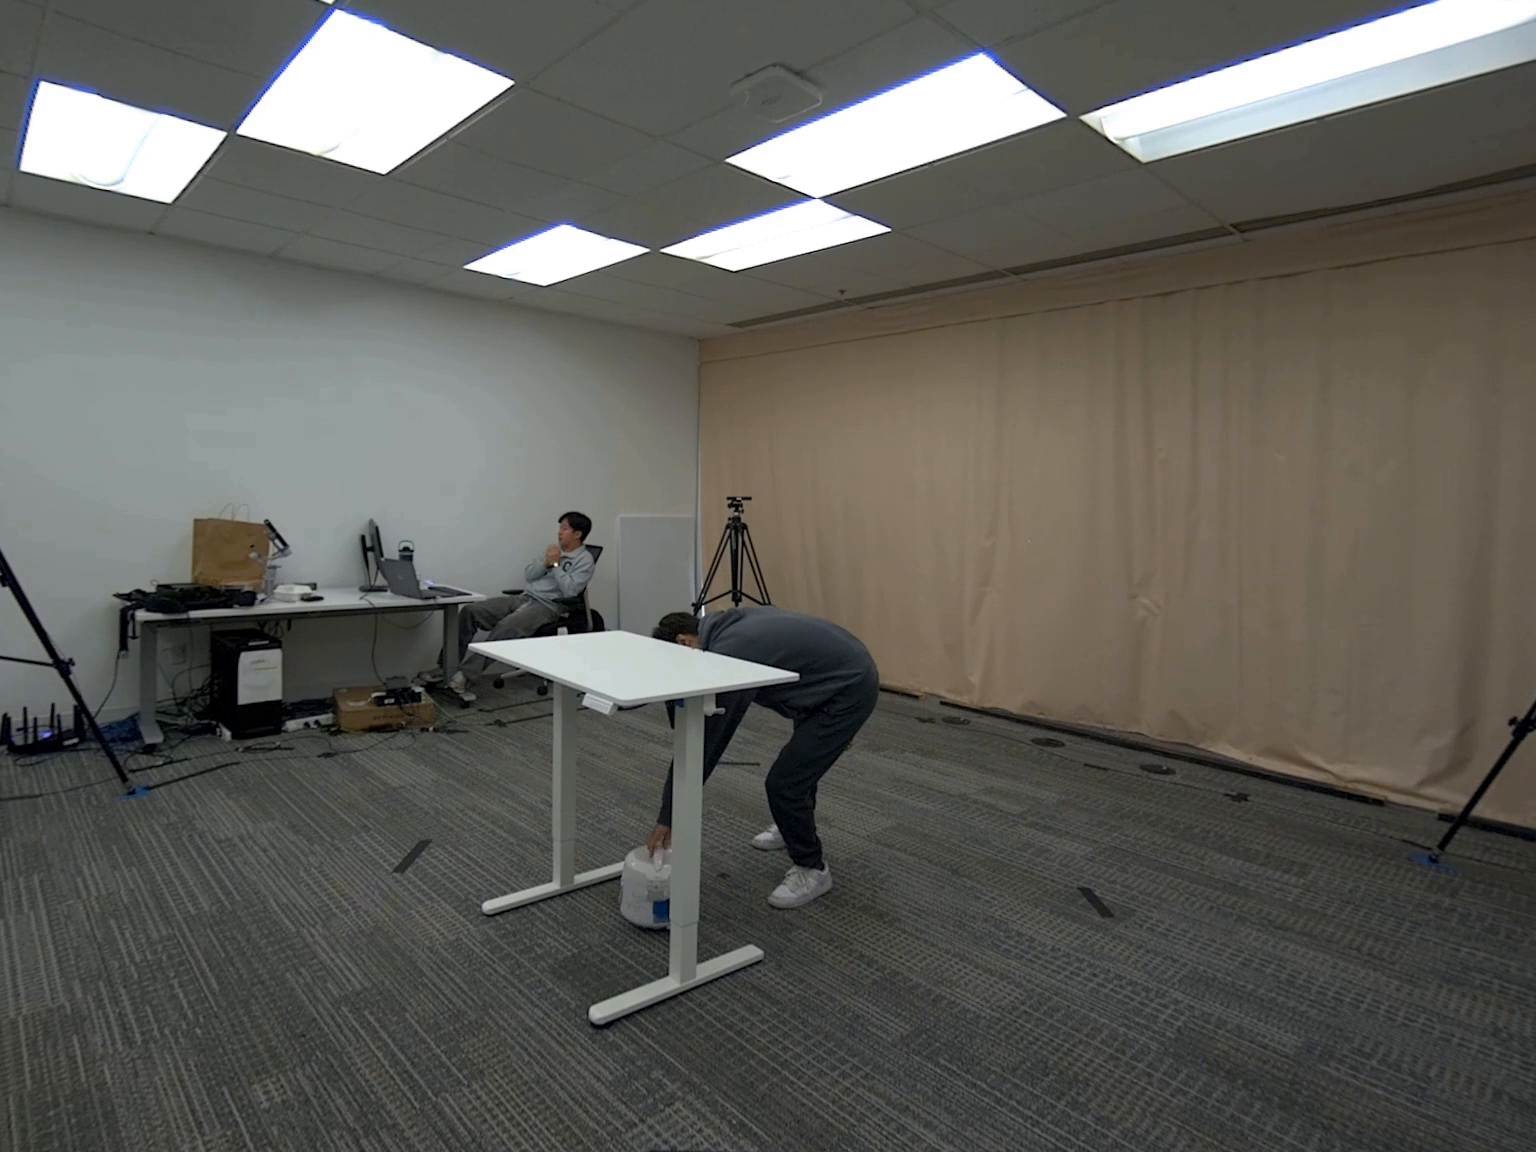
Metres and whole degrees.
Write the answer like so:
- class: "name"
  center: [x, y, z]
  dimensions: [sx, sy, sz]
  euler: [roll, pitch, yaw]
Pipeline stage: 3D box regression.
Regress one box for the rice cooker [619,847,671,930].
- class: "rice cooker"
  center: [-0.371, 0.995, 2.731]
  dimensions: [0.216, 0.232, 0.222]
  euler: [7, 5, -7]
